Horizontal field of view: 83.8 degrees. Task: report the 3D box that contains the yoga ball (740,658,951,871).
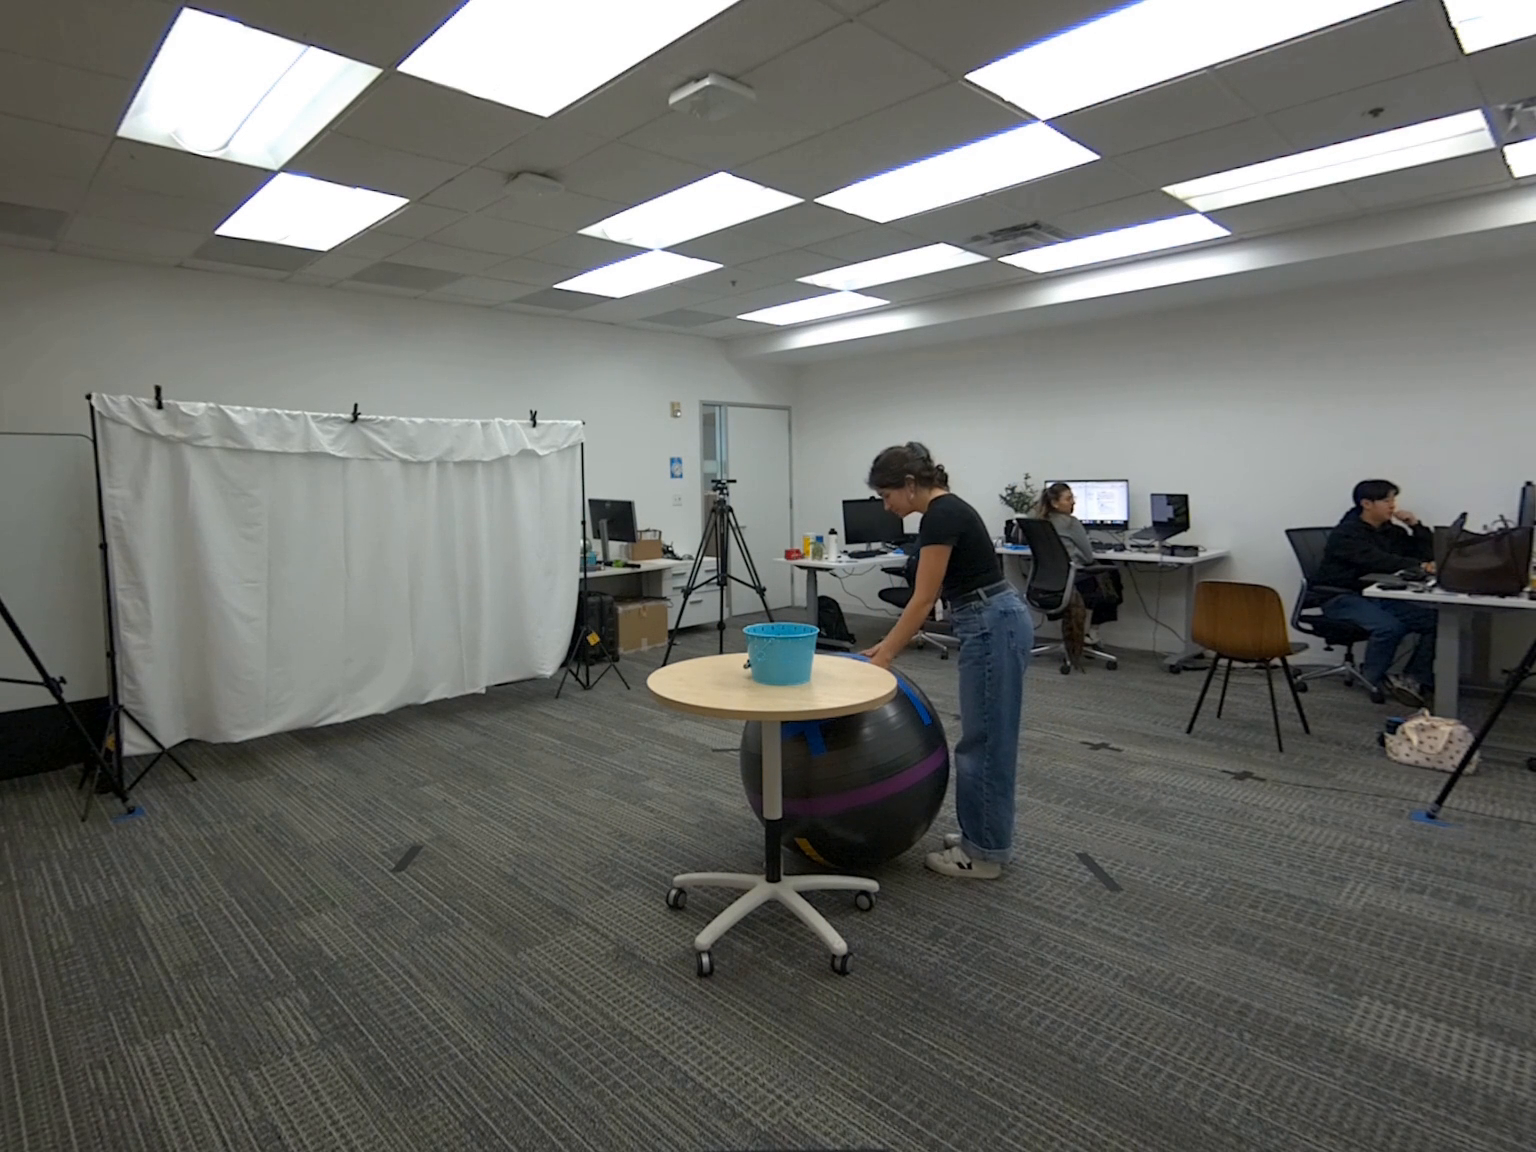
[{"bbox_3d":[0.278,0.674,3.129,0.757,0.755,0.762,-1,5,-2],"label":"yoga ball"}]
